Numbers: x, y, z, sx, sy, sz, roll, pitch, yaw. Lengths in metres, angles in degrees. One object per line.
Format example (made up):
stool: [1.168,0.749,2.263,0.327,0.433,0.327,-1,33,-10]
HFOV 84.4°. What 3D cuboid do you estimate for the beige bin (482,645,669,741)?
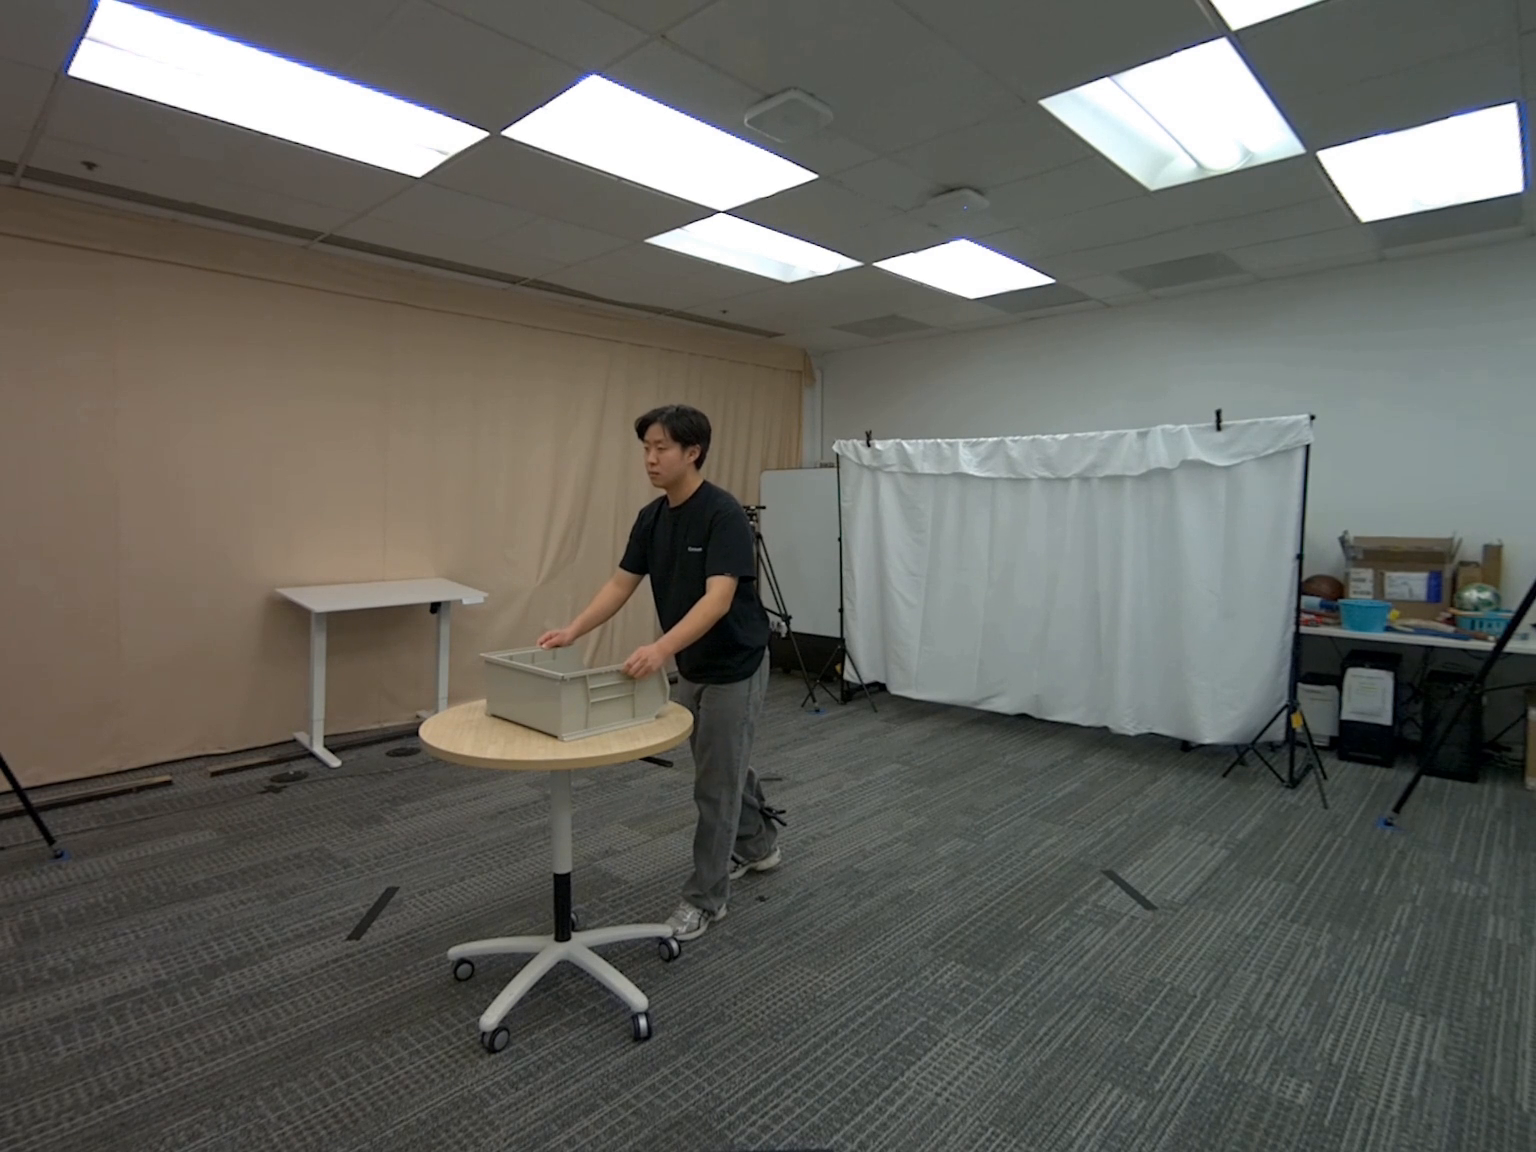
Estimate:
beige bin: [-0.569,0.322,2.441,0.436,0.188,0.366,4,7,43]
